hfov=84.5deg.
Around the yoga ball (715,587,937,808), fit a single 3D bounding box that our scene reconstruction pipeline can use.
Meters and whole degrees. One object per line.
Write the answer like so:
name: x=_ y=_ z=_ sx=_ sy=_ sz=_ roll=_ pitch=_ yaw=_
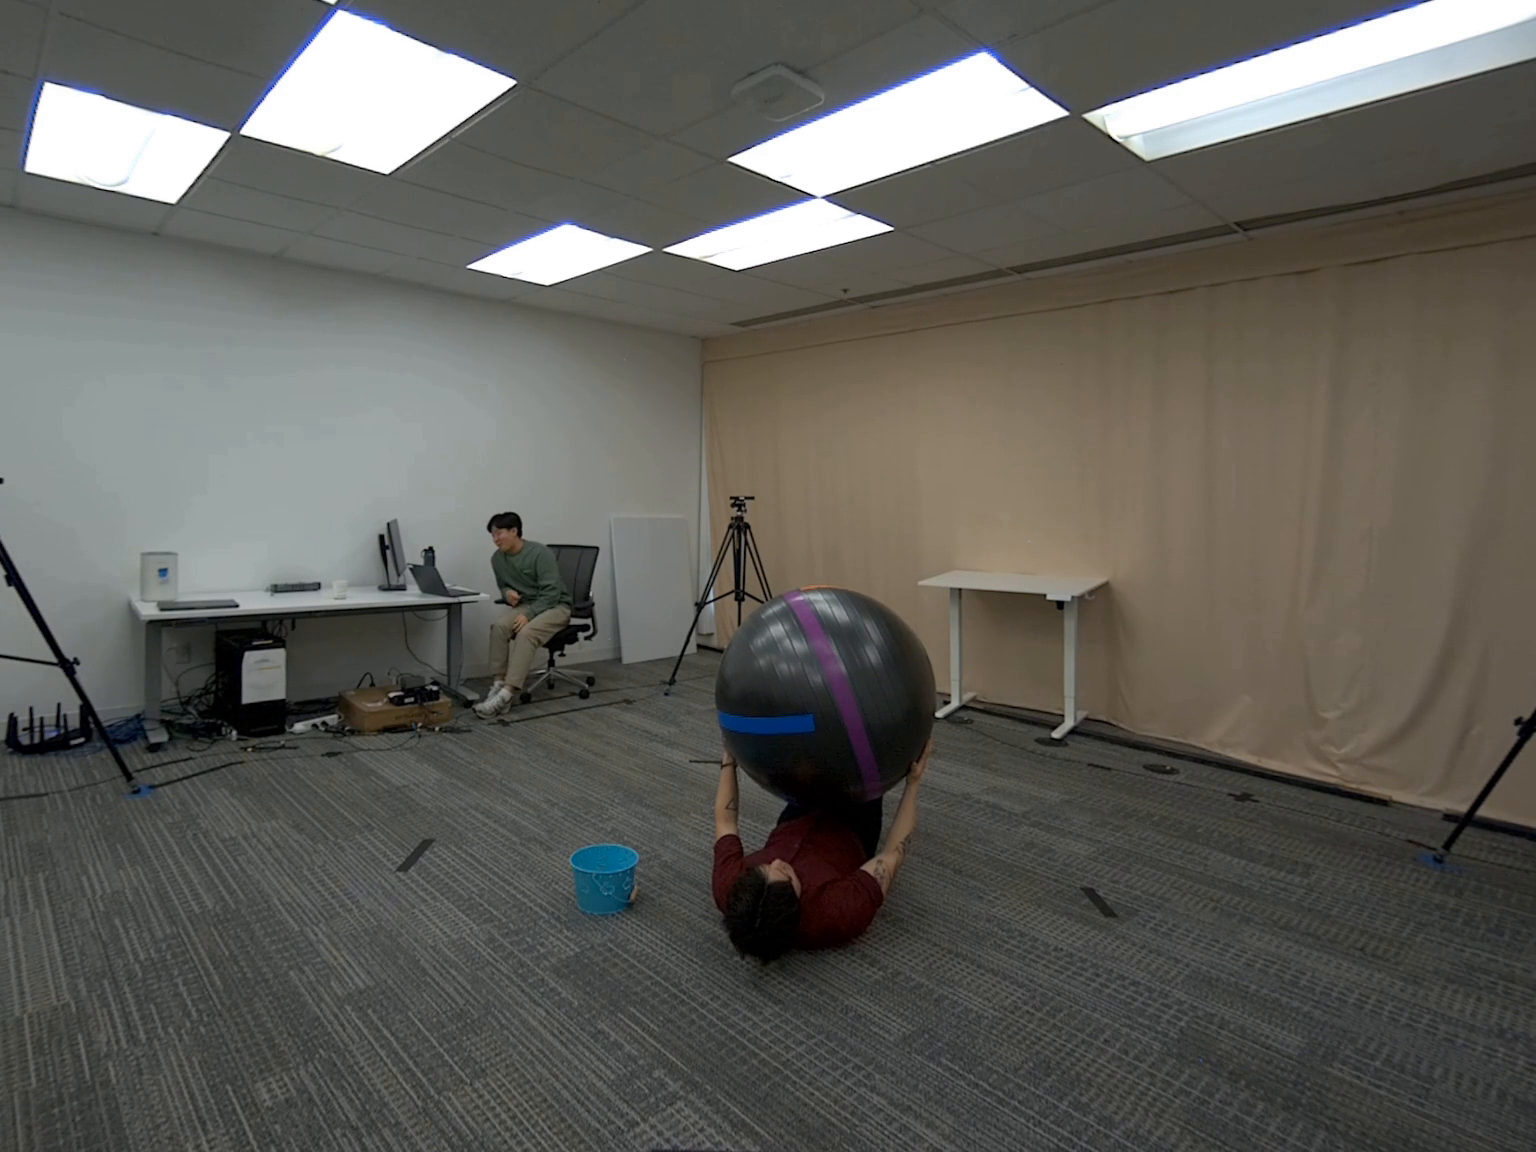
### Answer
yoga ball: x=0.195 y=0.419 z=2.938 sx=0.757 sy=0.756 sz=0.761 roll=1 pitch=4 yaw=-1
